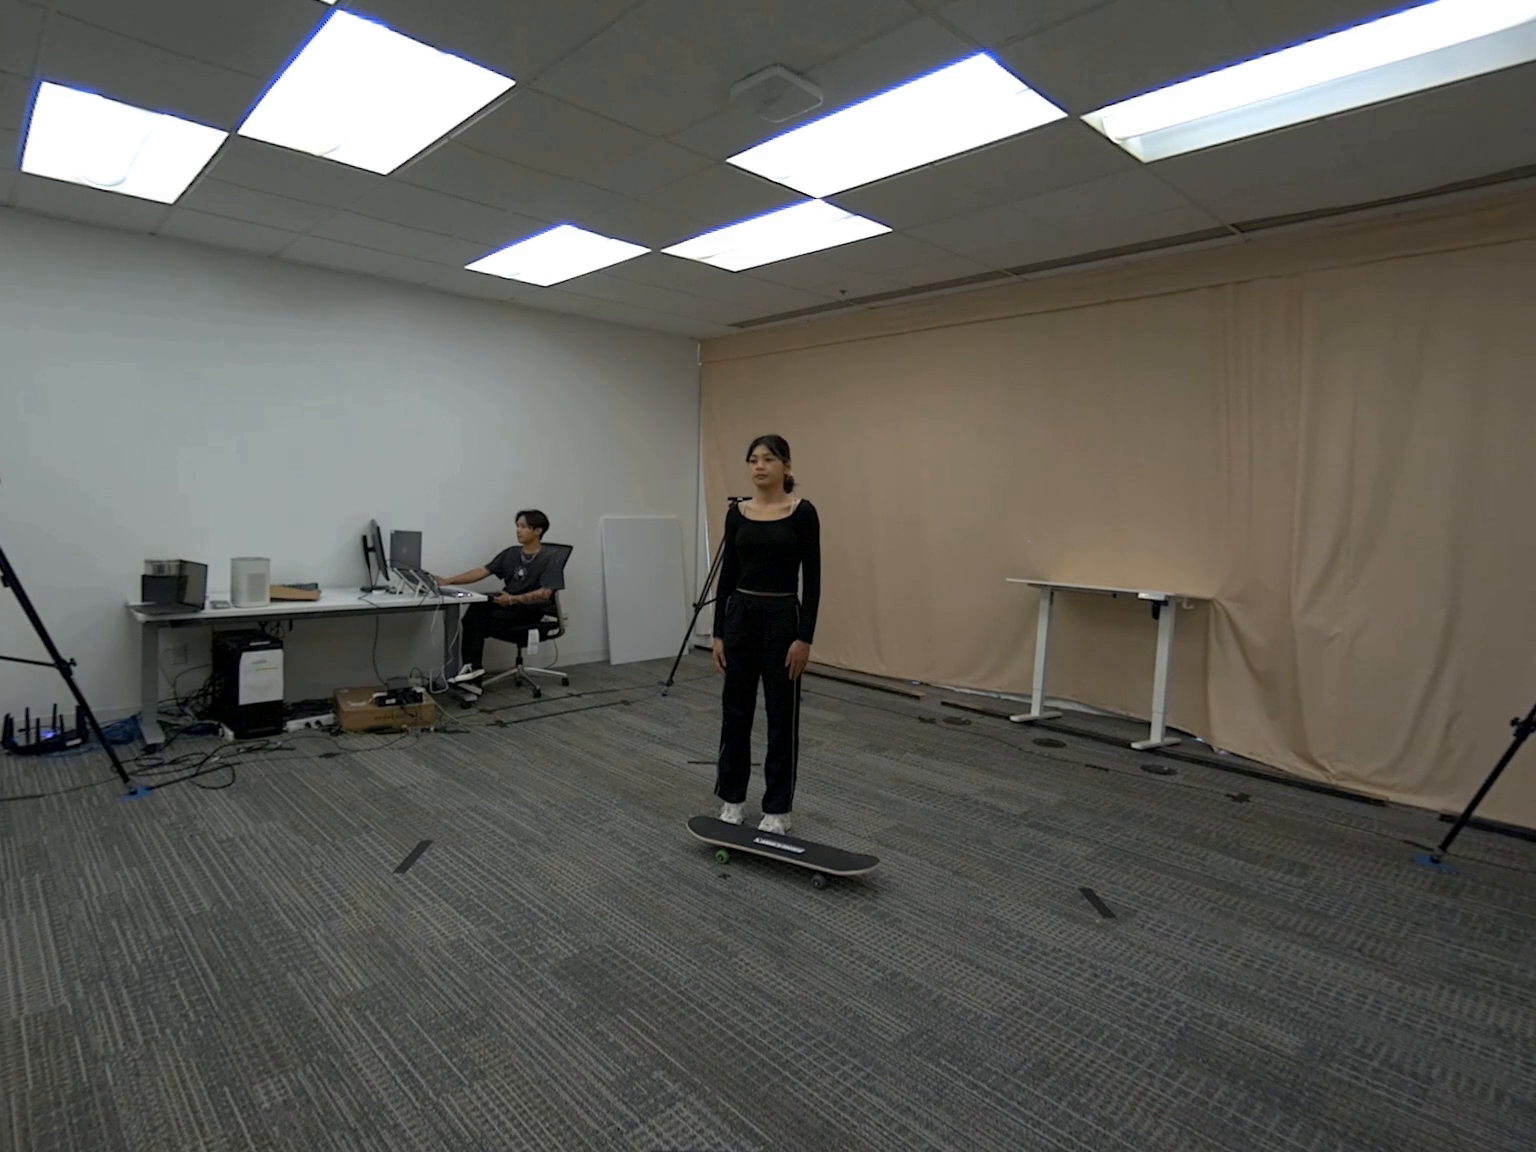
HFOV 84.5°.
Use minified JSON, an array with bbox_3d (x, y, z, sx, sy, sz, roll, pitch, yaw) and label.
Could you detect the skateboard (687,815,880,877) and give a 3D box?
[{"bbox_3d":[0.030,1.047,3.180,0.802,0.110,0.190,4,5,28],"label":"skateboard"}]
